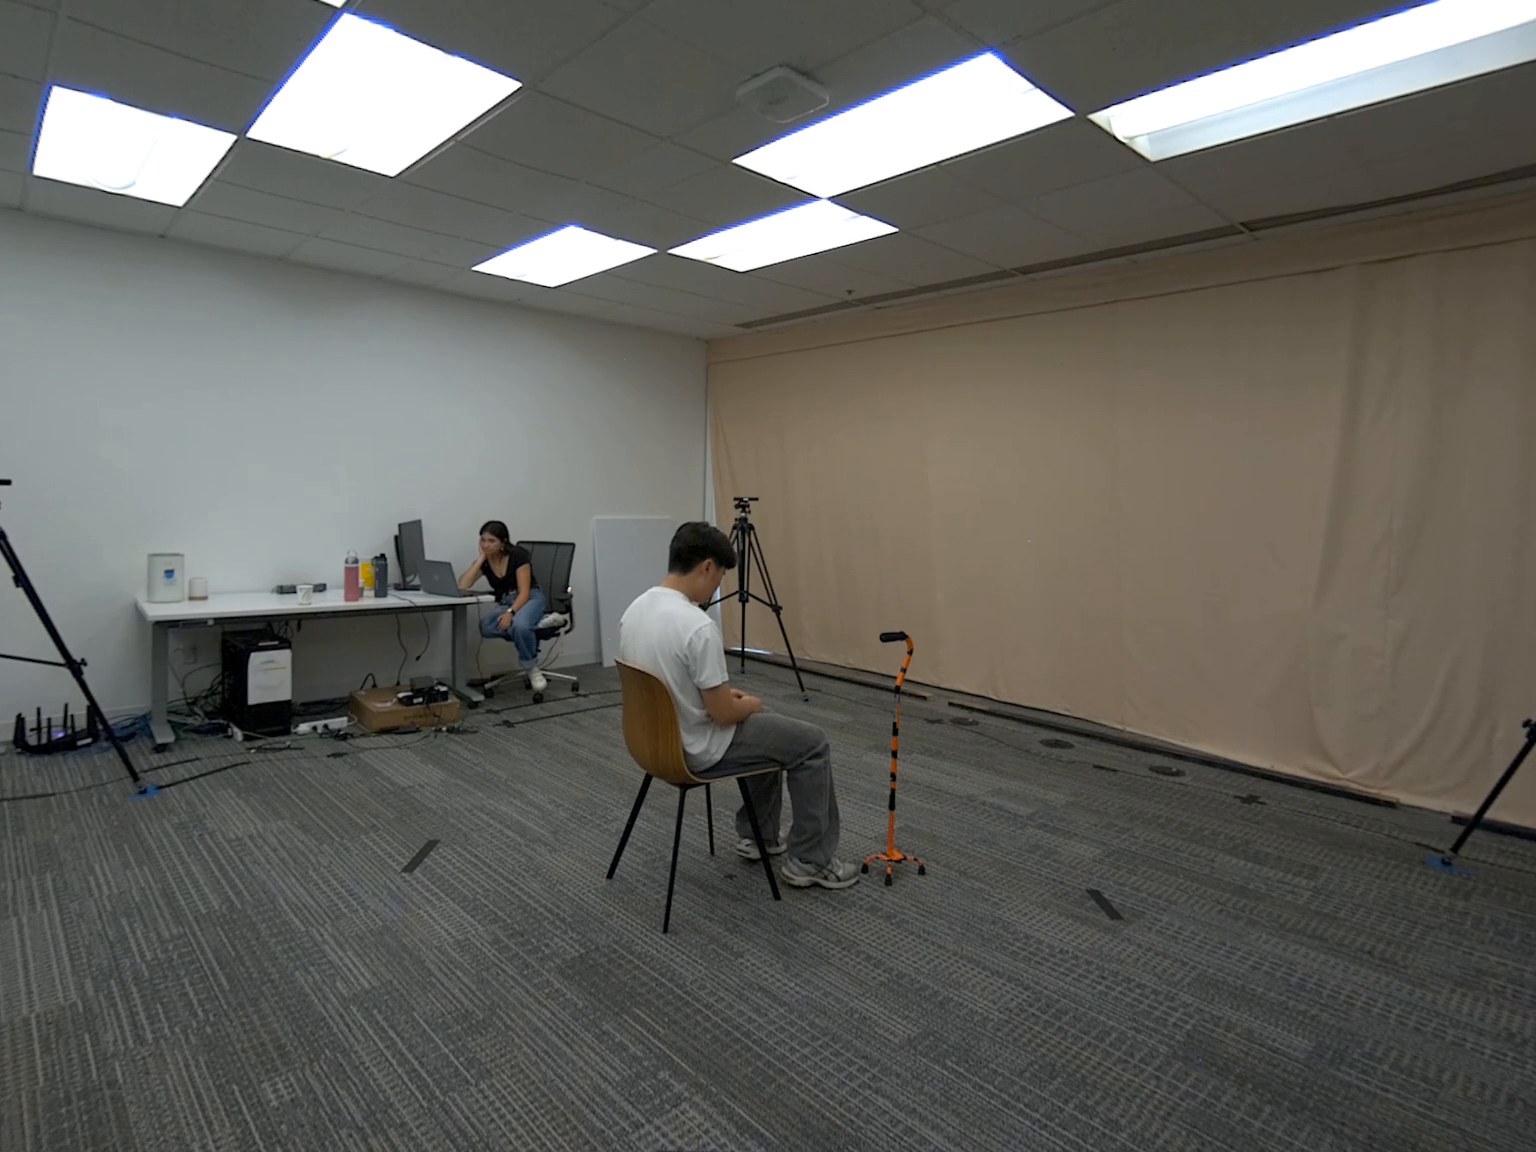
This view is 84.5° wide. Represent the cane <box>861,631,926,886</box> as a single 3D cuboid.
[{"bbox_3d":[0.483,0.665,3.135,0.202,0.906,0.155,1,3,-38],"label":"cane"}]
